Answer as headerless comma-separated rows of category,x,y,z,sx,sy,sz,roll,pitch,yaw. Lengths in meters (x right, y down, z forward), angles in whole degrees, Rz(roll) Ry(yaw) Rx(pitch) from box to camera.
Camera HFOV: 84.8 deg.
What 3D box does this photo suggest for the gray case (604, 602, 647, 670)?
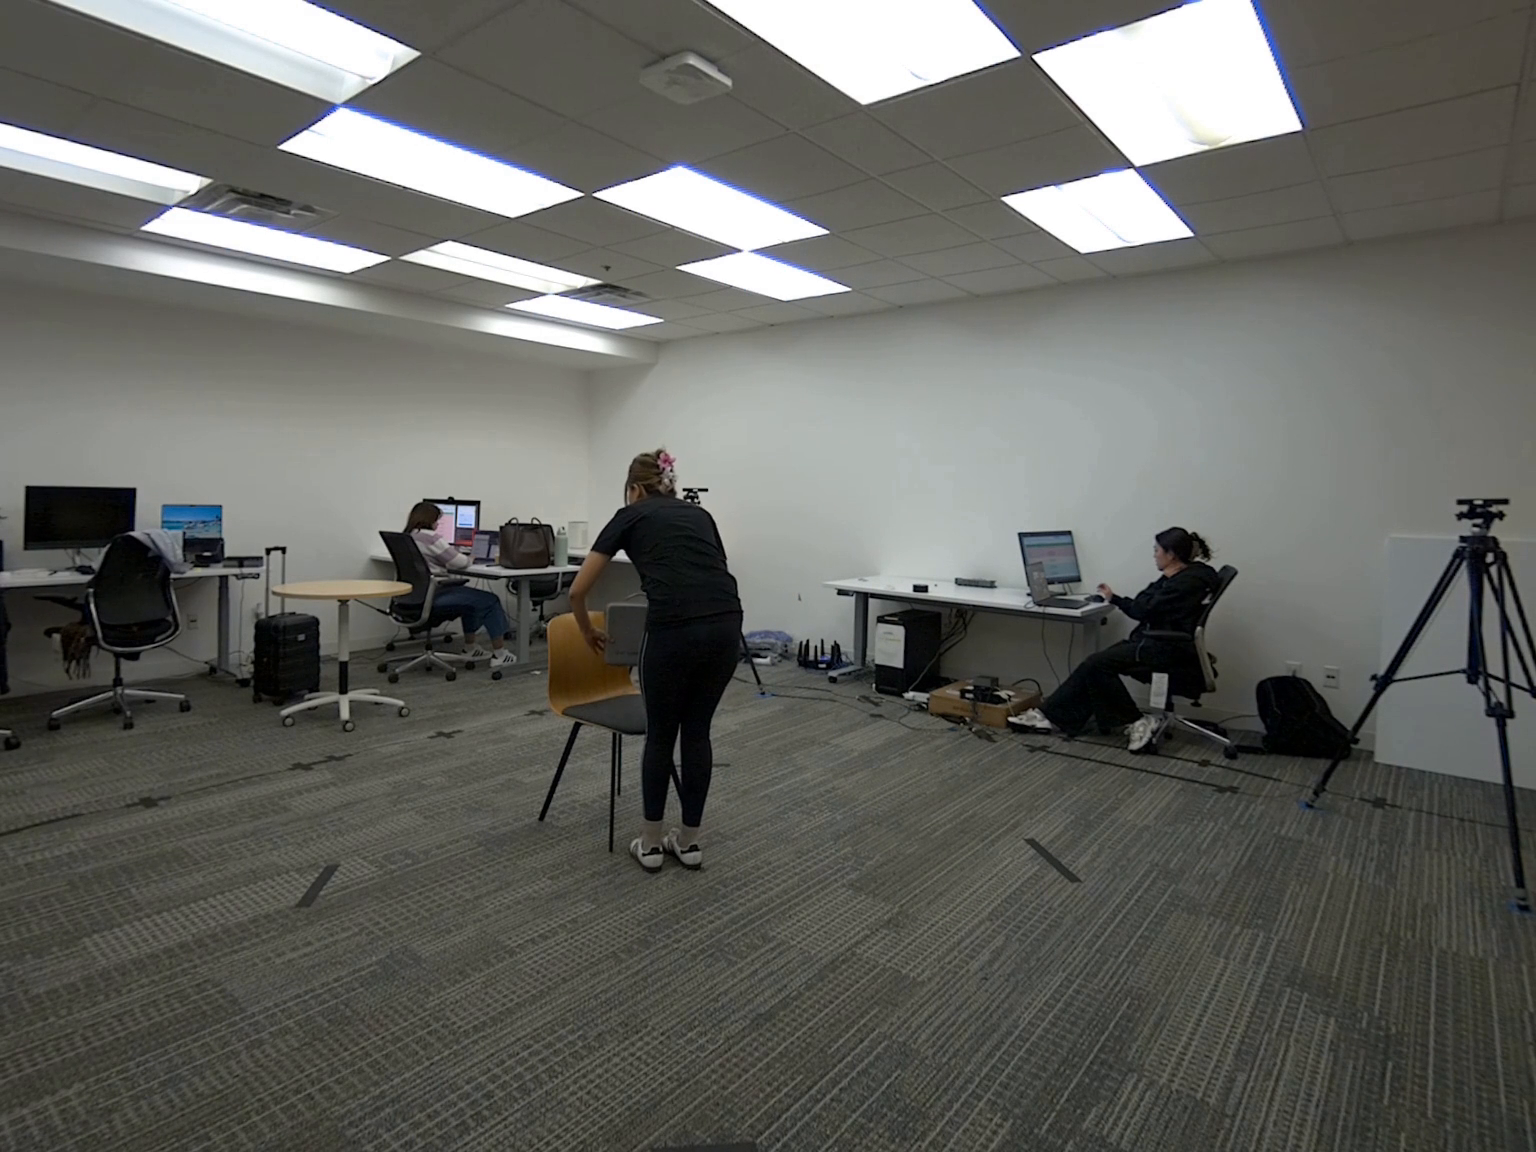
gray case,-0.551,0.231,3.472,0.256,0.261,0.104,2,-2,-3
